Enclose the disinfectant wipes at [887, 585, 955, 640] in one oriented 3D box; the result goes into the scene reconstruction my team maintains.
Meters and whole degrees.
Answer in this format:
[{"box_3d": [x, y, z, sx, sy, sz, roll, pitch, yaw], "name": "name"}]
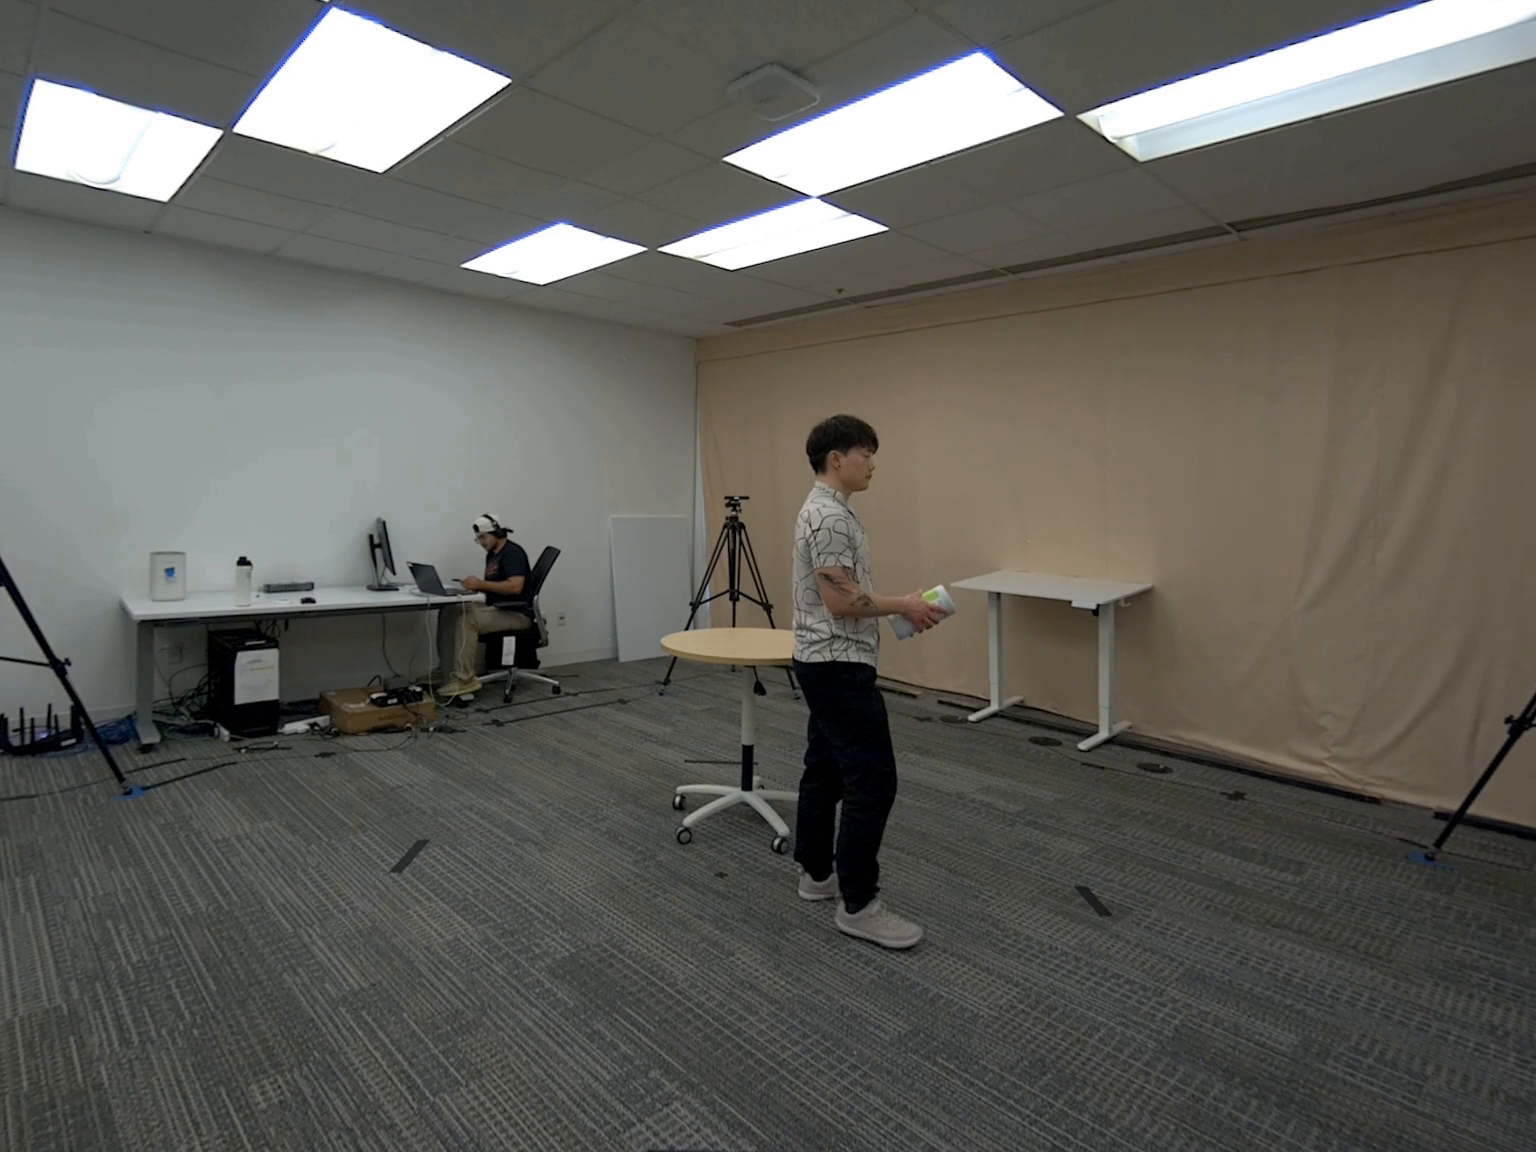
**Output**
[{"box_3d": [0.511, 0.118, 2.839, 0.218, 0.117, 0.118, -27, 2, 5], "name": "disinfectant wipes"}]
